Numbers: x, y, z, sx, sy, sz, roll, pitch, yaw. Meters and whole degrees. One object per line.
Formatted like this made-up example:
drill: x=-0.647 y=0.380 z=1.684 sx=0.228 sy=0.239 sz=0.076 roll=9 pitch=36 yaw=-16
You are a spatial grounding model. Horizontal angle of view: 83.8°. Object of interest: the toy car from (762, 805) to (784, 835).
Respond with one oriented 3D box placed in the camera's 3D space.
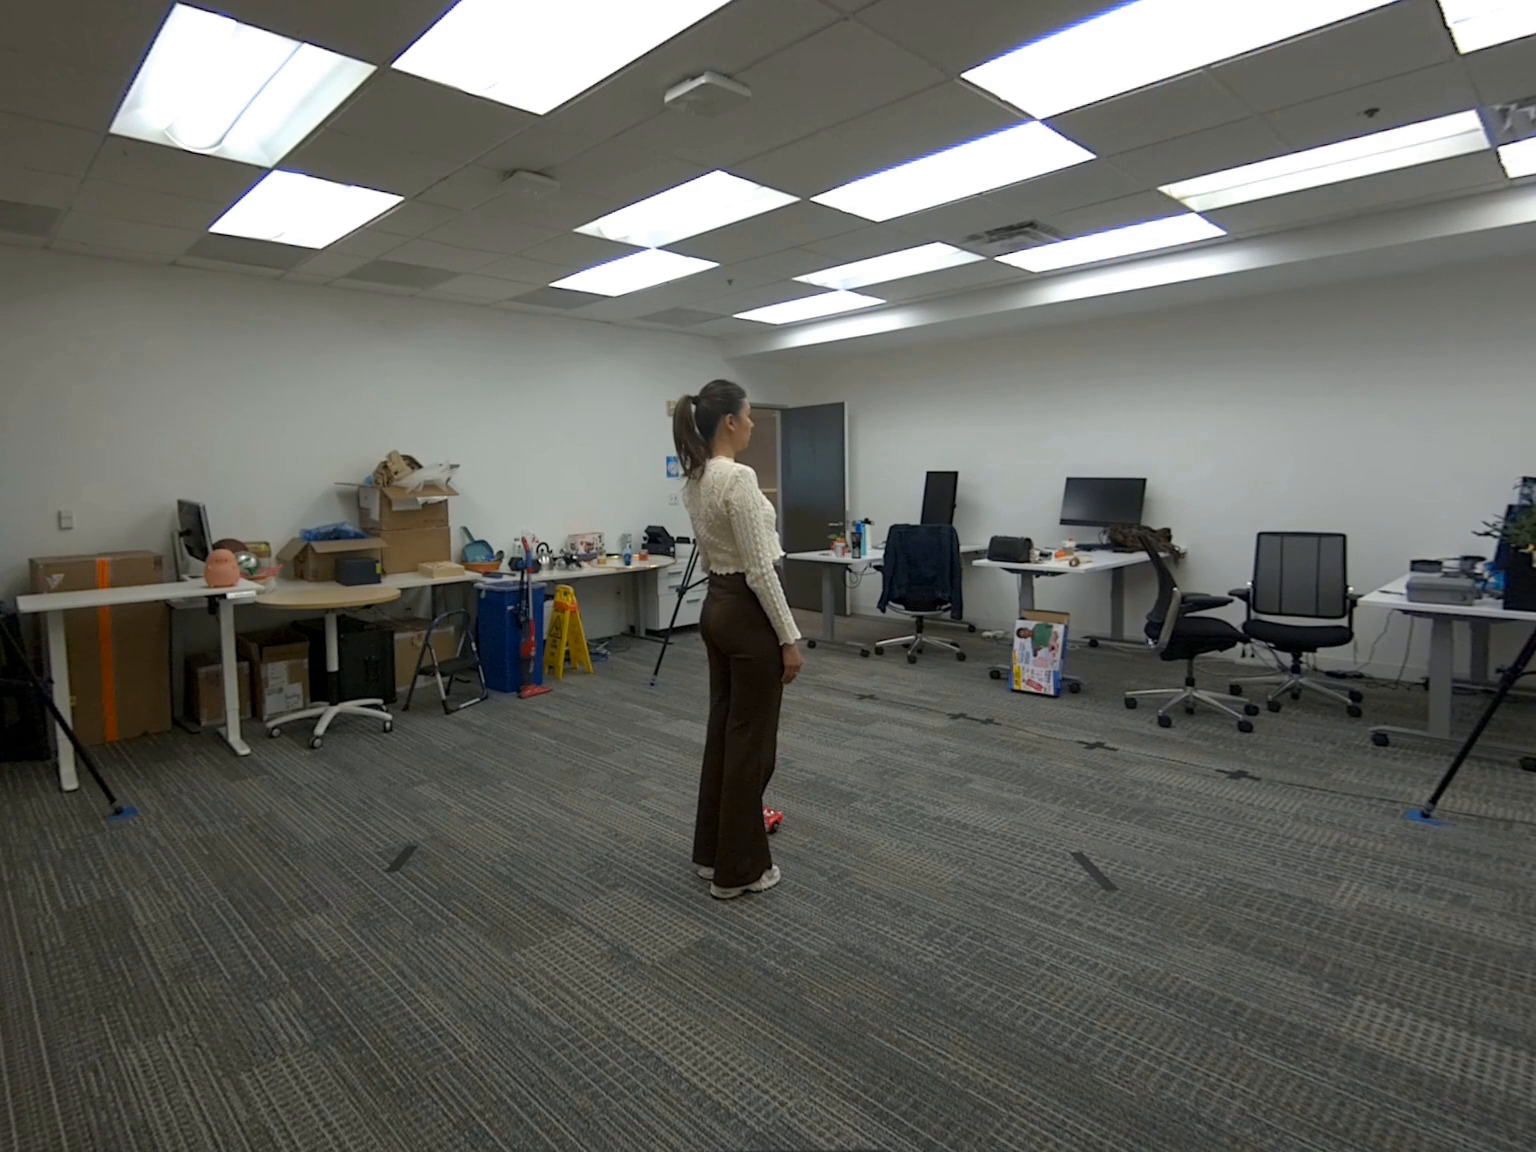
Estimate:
toy car: x=-0.040 y=0.990 z=3.371 sx=0.134 sy=0.082 sz=0.250 roll=5 pitch=19 yaw=41
